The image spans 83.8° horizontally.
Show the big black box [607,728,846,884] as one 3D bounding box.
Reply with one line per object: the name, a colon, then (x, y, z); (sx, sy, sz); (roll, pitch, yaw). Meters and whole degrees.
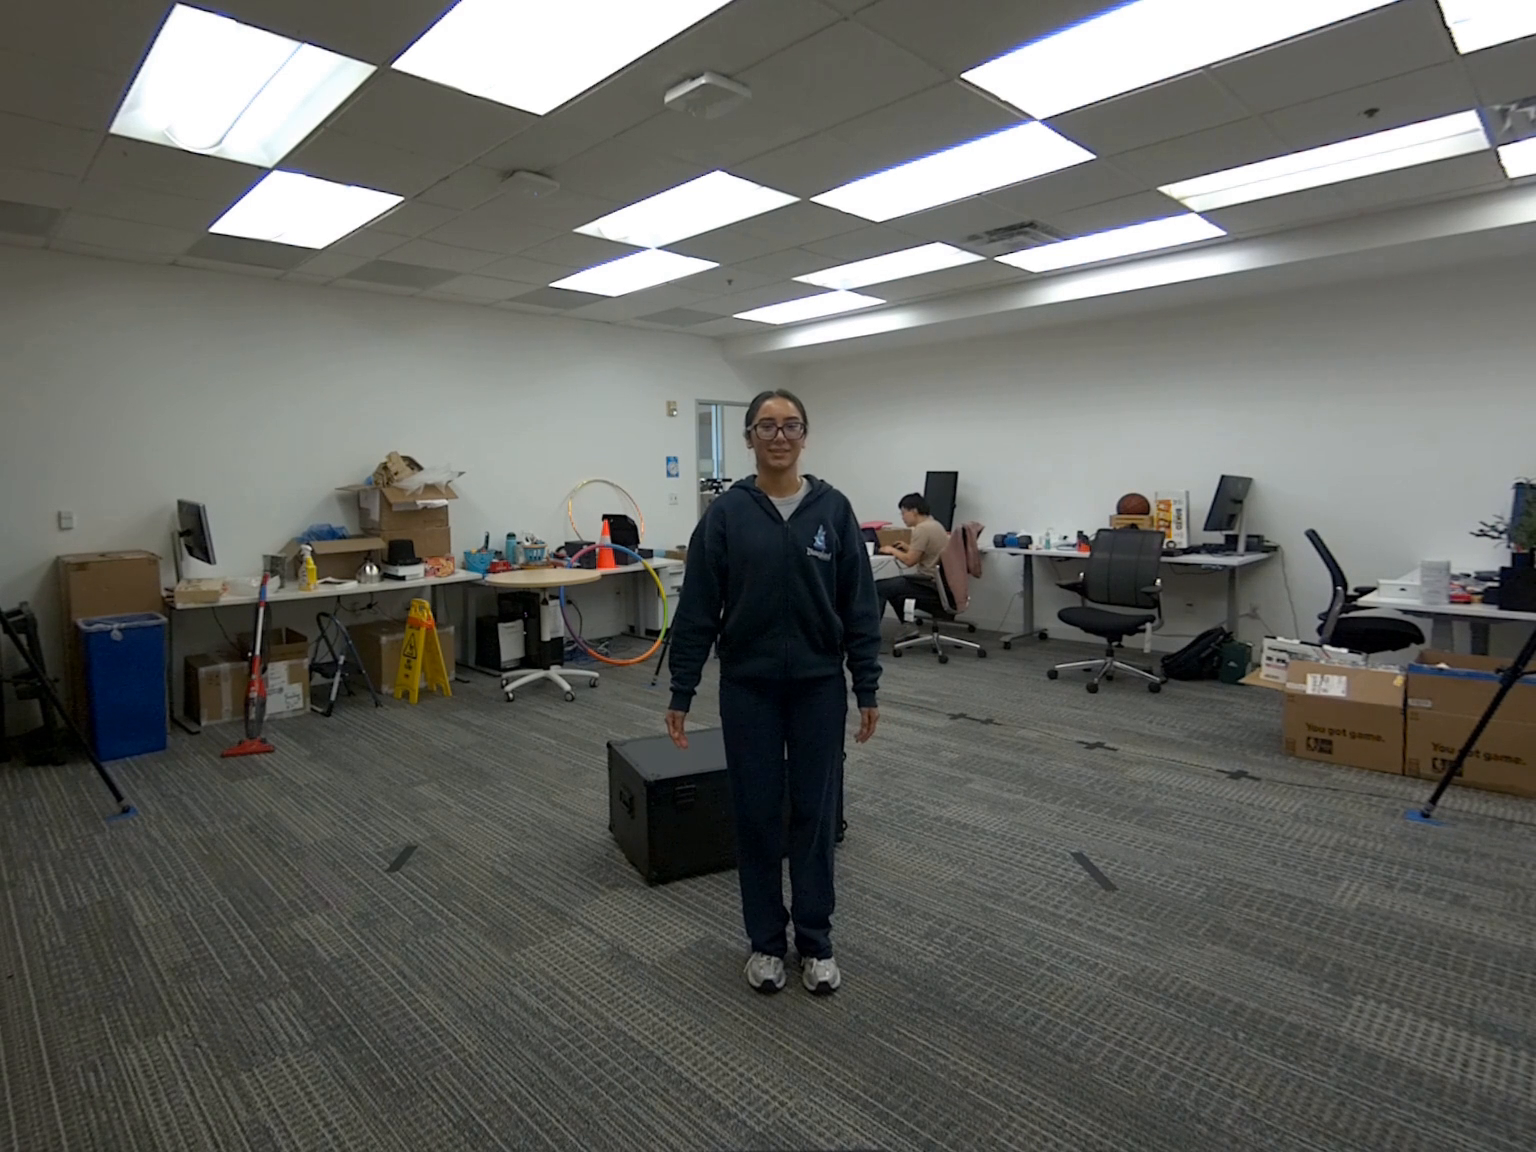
big black box: (-0.147, 0.843, 3.311); (0.842, 0.519, 0.407); (-4, 6, -27)
